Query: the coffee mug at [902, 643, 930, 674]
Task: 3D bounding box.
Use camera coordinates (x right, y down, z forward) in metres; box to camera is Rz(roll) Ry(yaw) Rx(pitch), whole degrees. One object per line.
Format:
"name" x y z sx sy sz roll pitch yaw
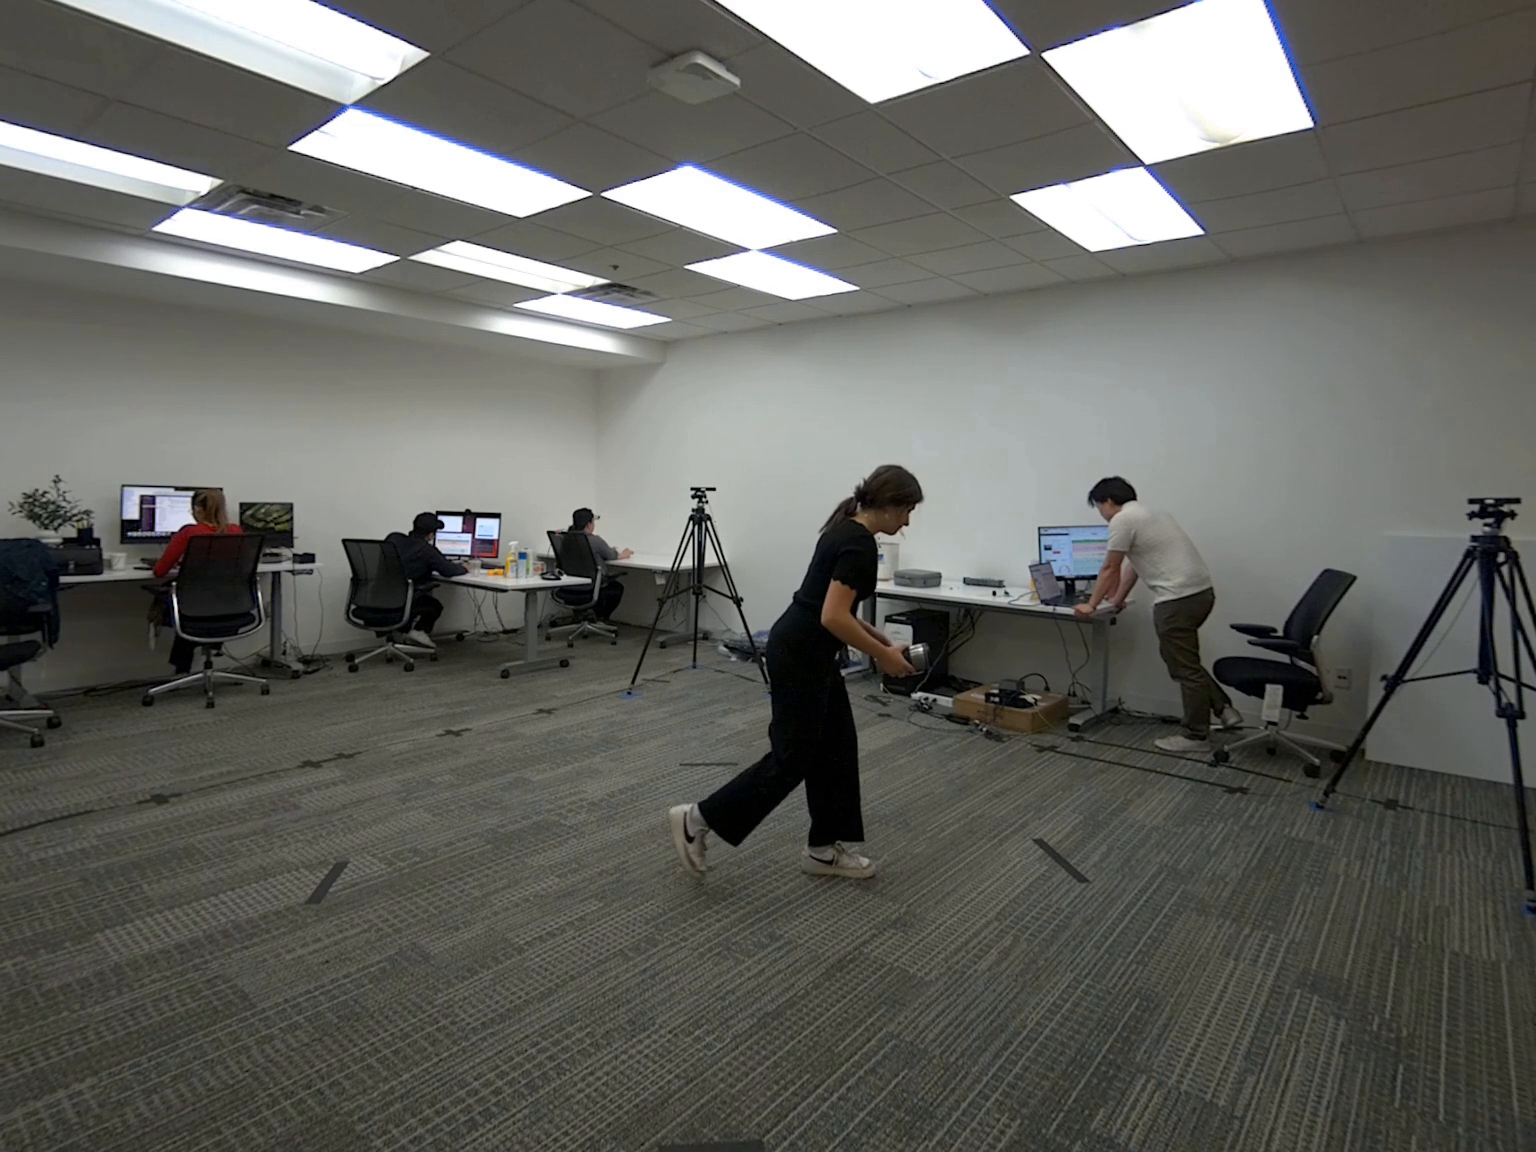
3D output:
"coffee mug" 0.449 0.310 2.928 0.202 0.118 0.091 -11 39 -3
